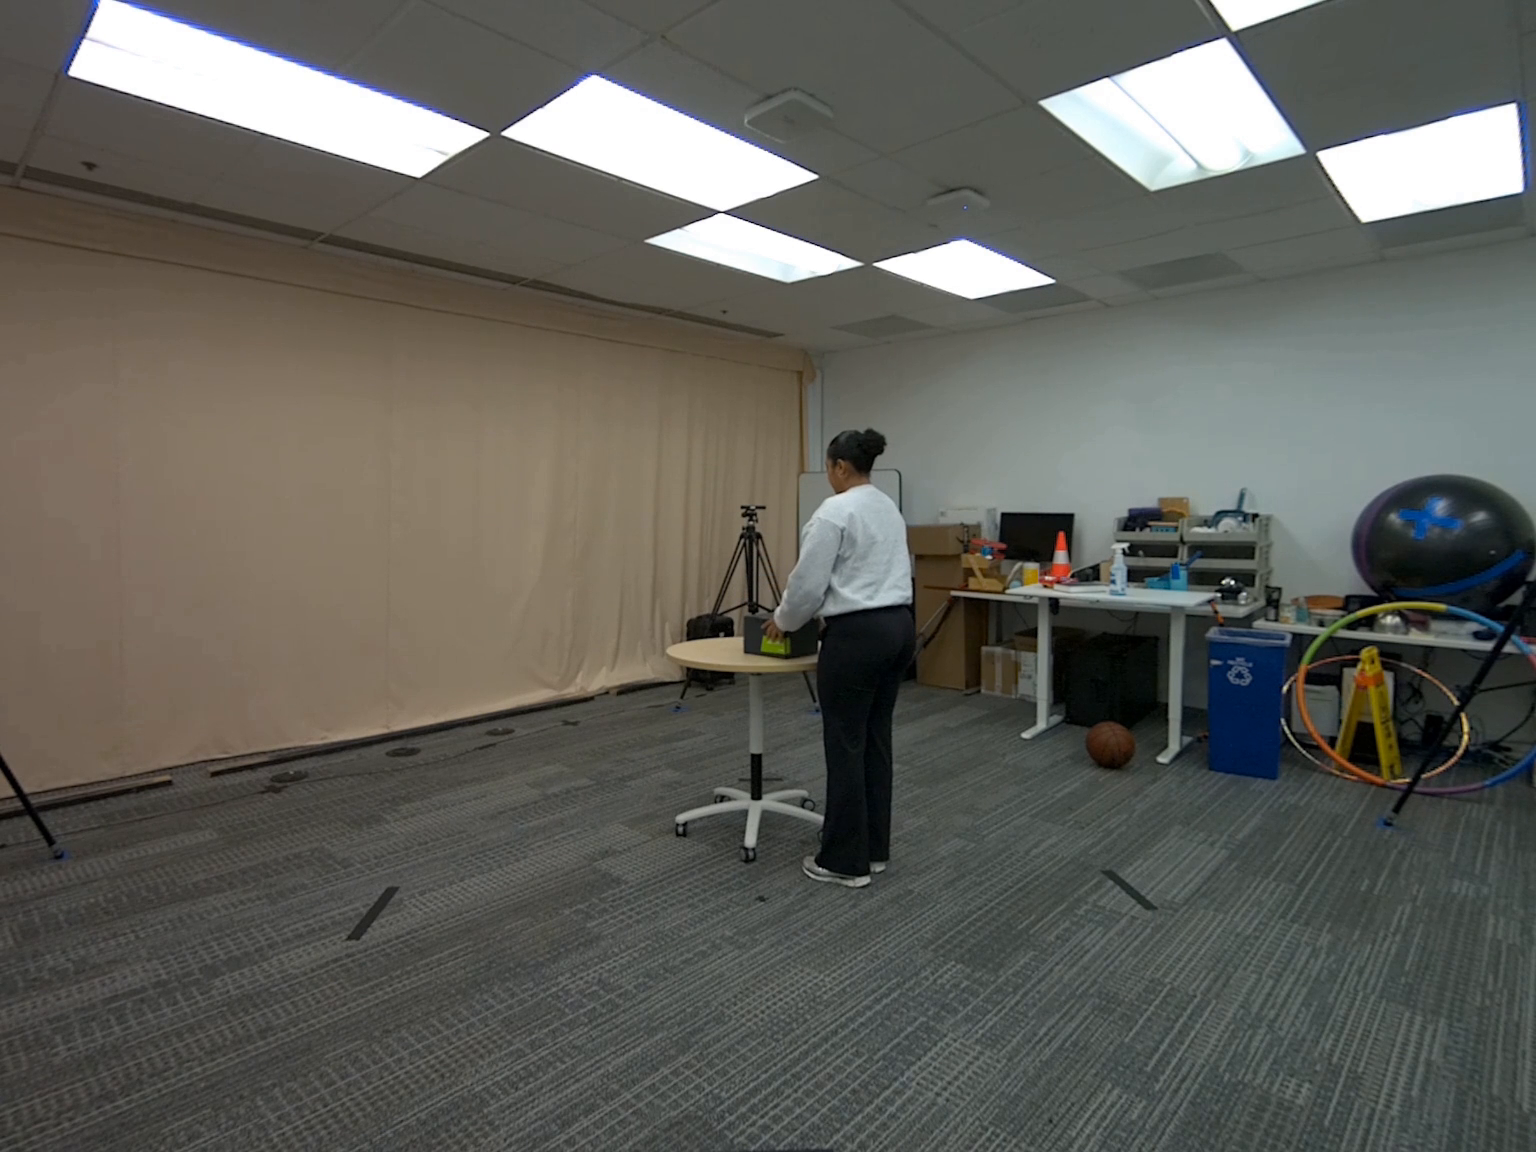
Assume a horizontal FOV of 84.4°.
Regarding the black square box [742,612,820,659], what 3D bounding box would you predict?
[{"bbox_3d":[0.050,0.234,3.478,0.235,0.155,0.210,4,7,43],"label":"black square box"}]
